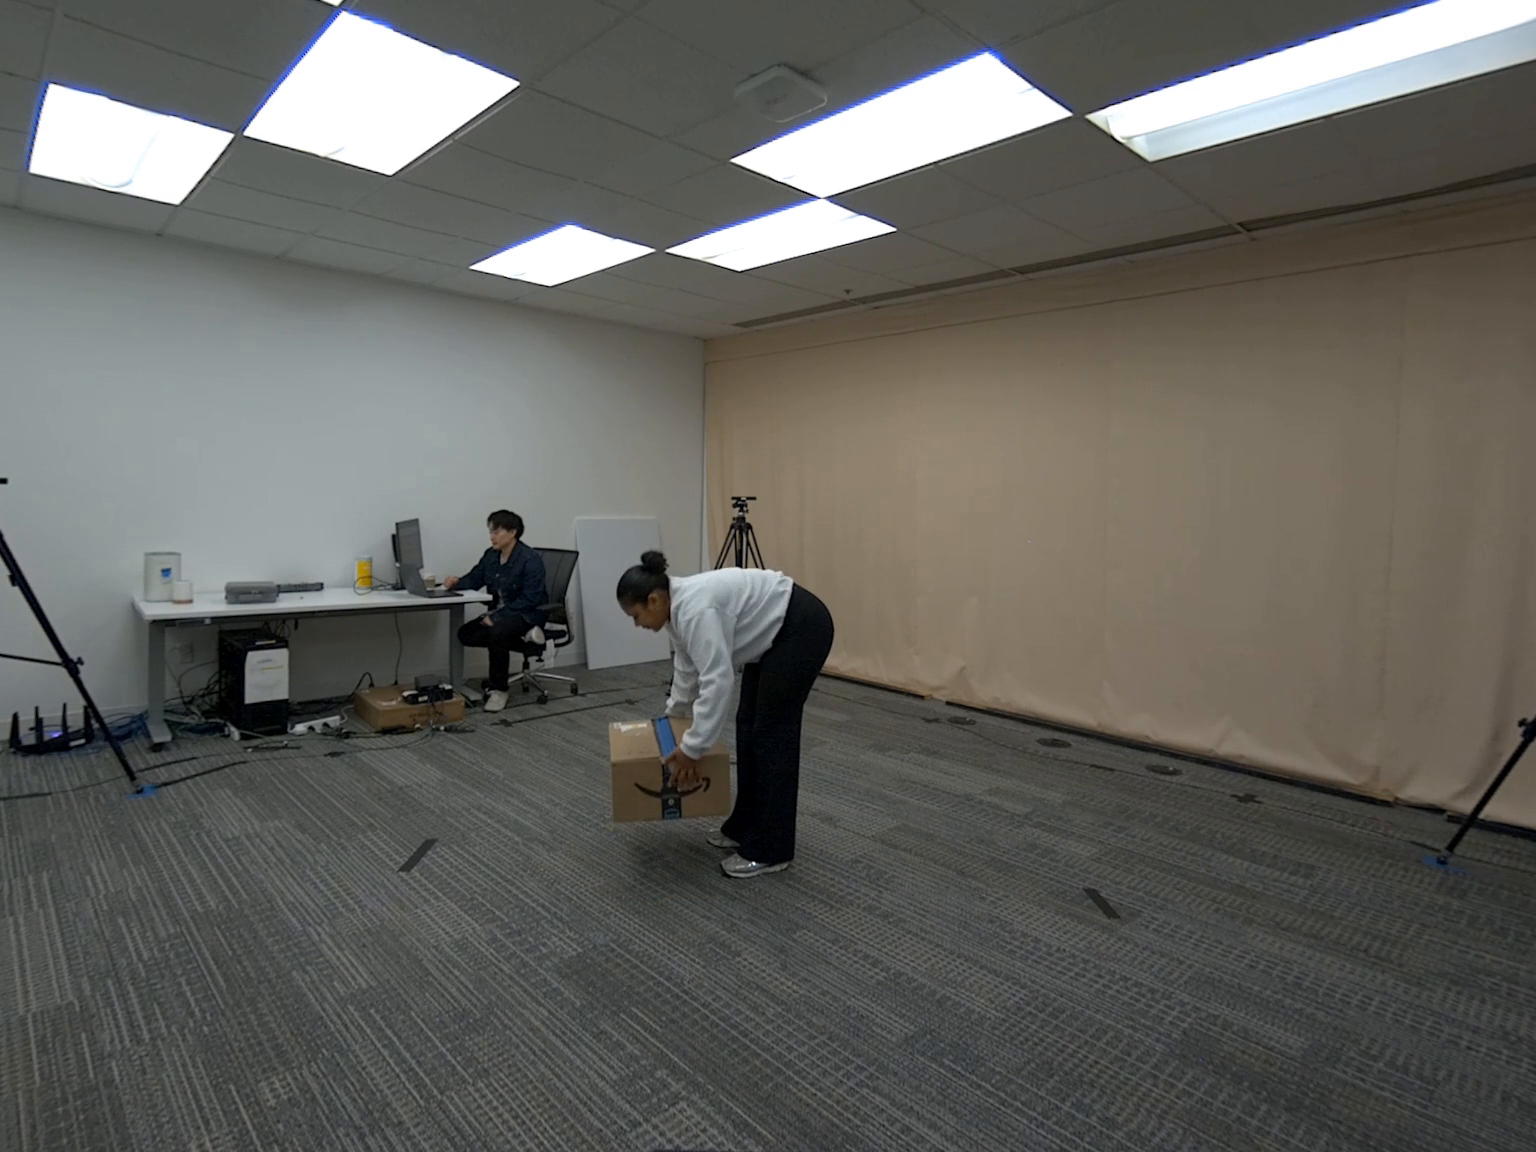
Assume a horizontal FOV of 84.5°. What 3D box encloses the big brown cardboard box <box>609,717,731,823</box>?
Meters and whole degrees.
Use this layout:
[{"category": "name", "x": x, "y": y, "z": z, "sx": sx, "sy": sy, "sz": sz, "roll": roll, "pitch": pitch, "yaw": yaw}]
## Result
[{"category": "big brown cardboard box", "x": -0.402, "y": 0.711, "z": 3.214, "sx": 0.414, "sy": 0.232, "sz": 0.595, "roll": -2, "pitch": 5, "yaw": -10}]
